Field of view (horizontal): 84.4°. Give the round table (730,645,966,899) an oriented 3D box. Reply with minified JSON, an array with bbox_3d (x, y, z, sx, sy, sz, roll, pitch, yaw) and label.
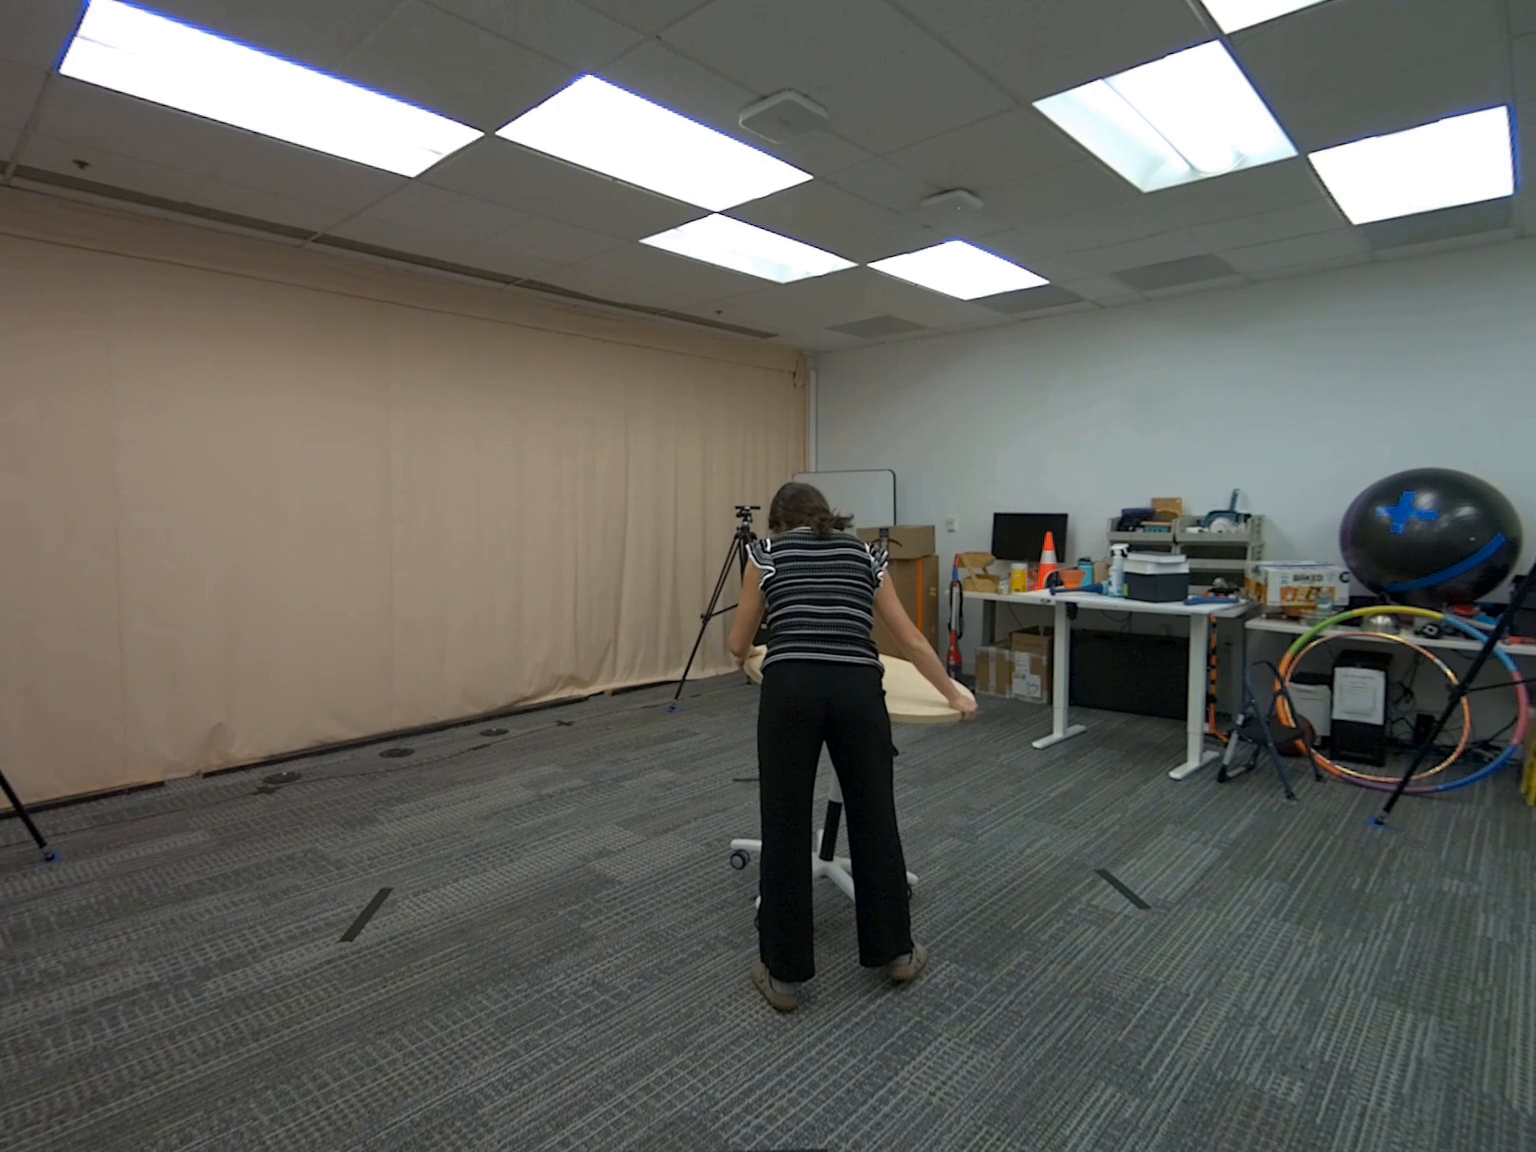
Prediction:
[{"bbox_3d":[0.233,0.718,2.862,0.784,0.784,0.789,7,7,-3],"label":"round table"}]
